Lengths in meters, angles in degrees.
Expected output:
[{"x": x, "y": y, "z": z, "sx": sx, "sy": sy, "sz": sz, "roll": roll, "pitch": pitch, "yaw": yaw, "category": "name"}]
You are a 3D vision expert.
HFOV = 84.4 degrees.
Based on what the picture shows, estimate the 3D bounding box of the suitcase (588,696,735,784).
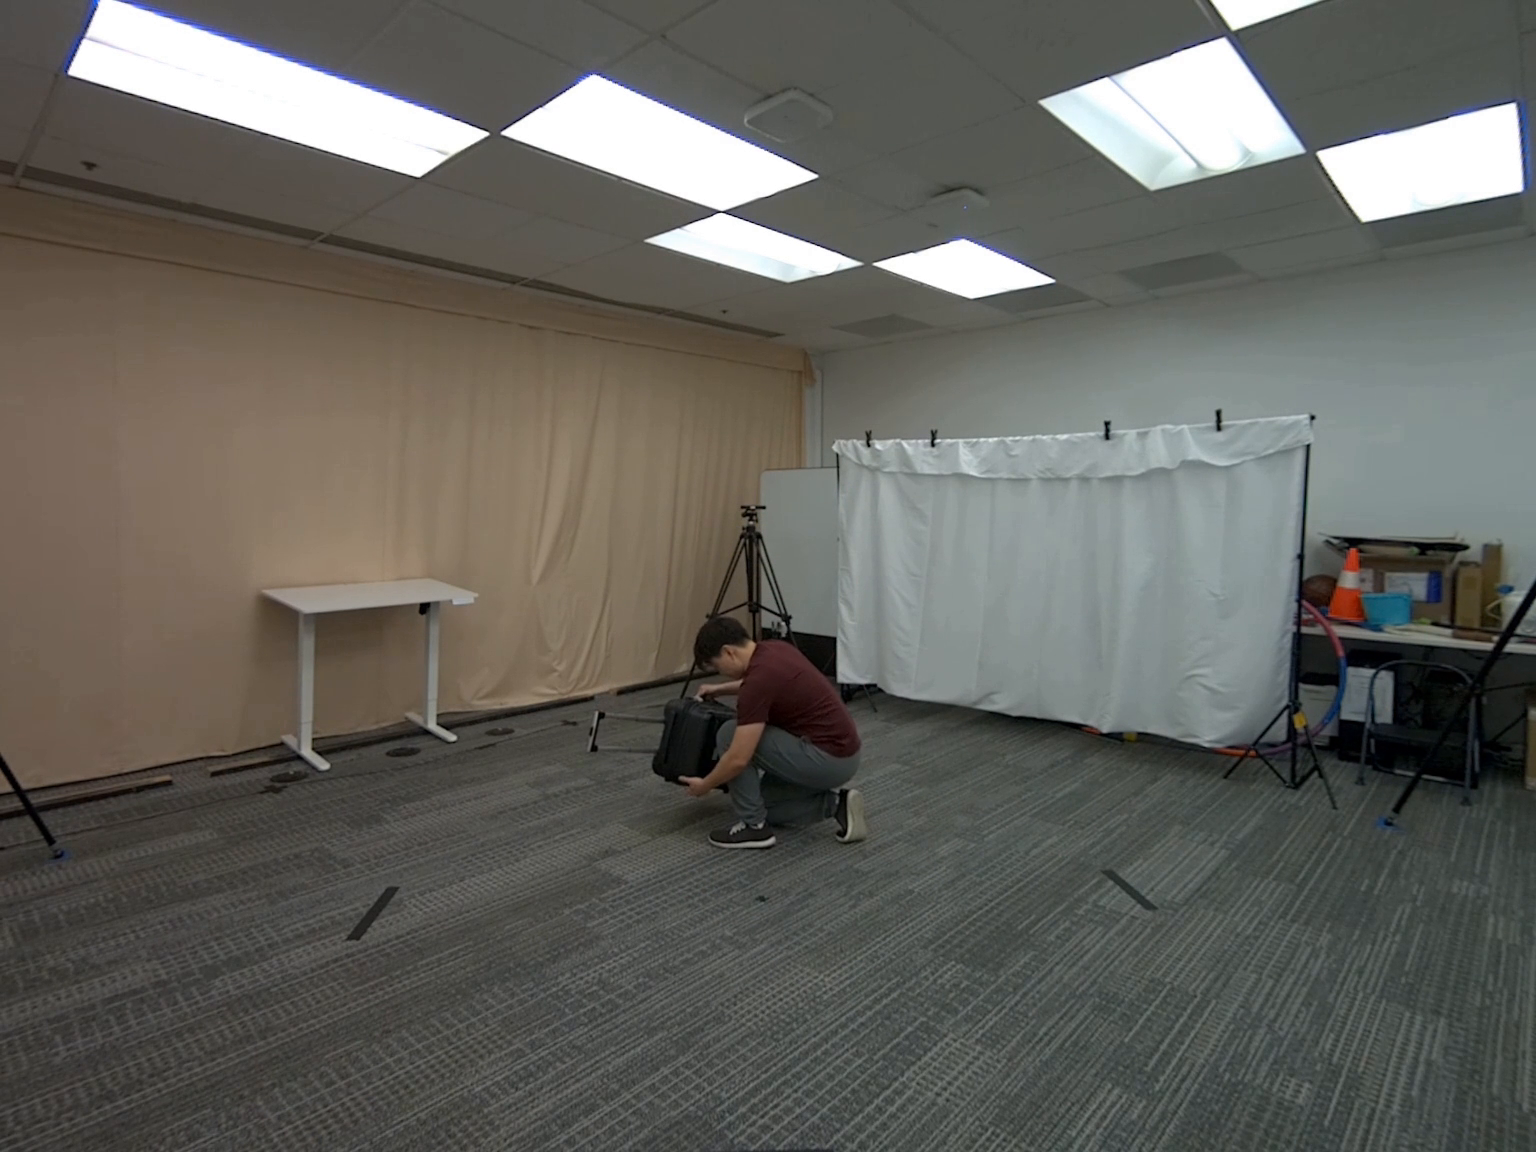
[{"x": -0.360, "y": 0.719, "z": 3.629, "sx": 0.265, "sy": 0.385, "sz": 0.946, "roll": 11, "pitch": -8, "yaw": 30, "category": "suitcase"}]
